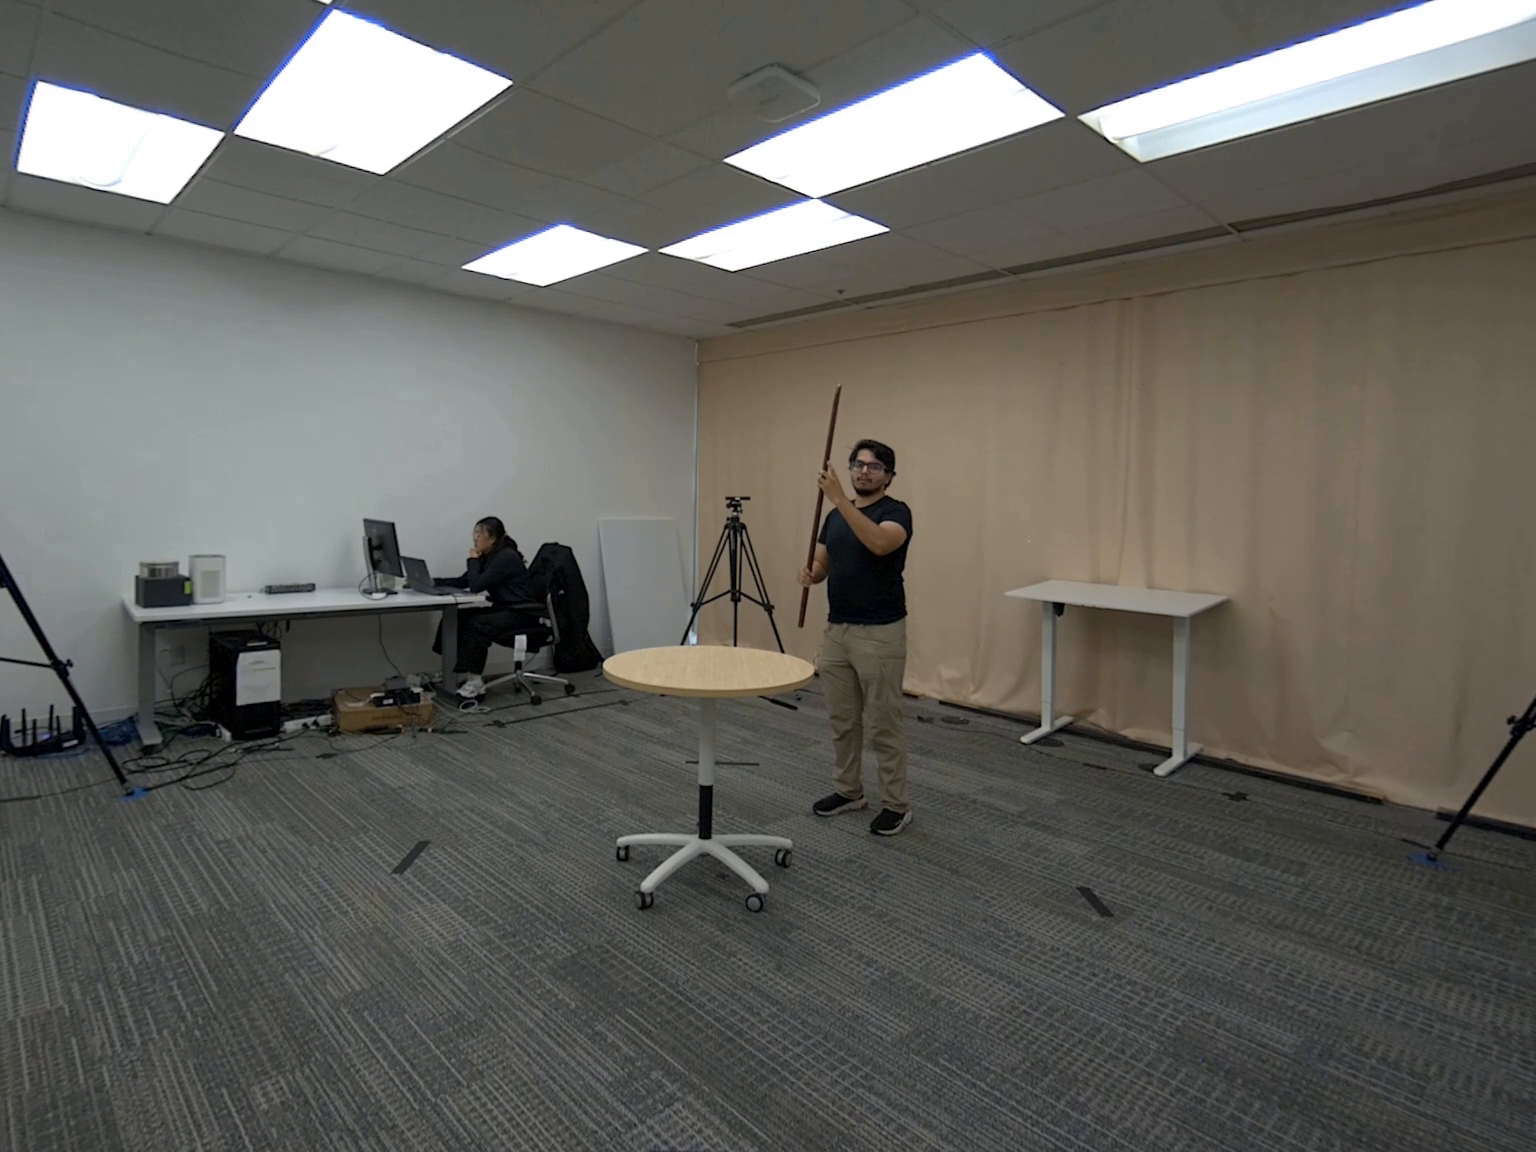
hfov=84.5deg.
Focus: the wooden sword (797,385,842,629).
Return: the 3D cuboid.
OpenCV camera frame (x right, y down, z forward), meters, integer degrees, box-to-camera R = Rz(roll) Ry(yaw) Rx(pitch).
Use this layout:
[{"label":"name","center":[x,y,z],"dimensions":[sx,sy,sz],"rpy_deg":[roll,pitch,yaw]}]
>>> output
[{"label":"wooden sword","center":[0.215,-0.286,3.476],"dimensions":[0.052,1.019,0.023],"rpy_deg":[13,10,28]}]
